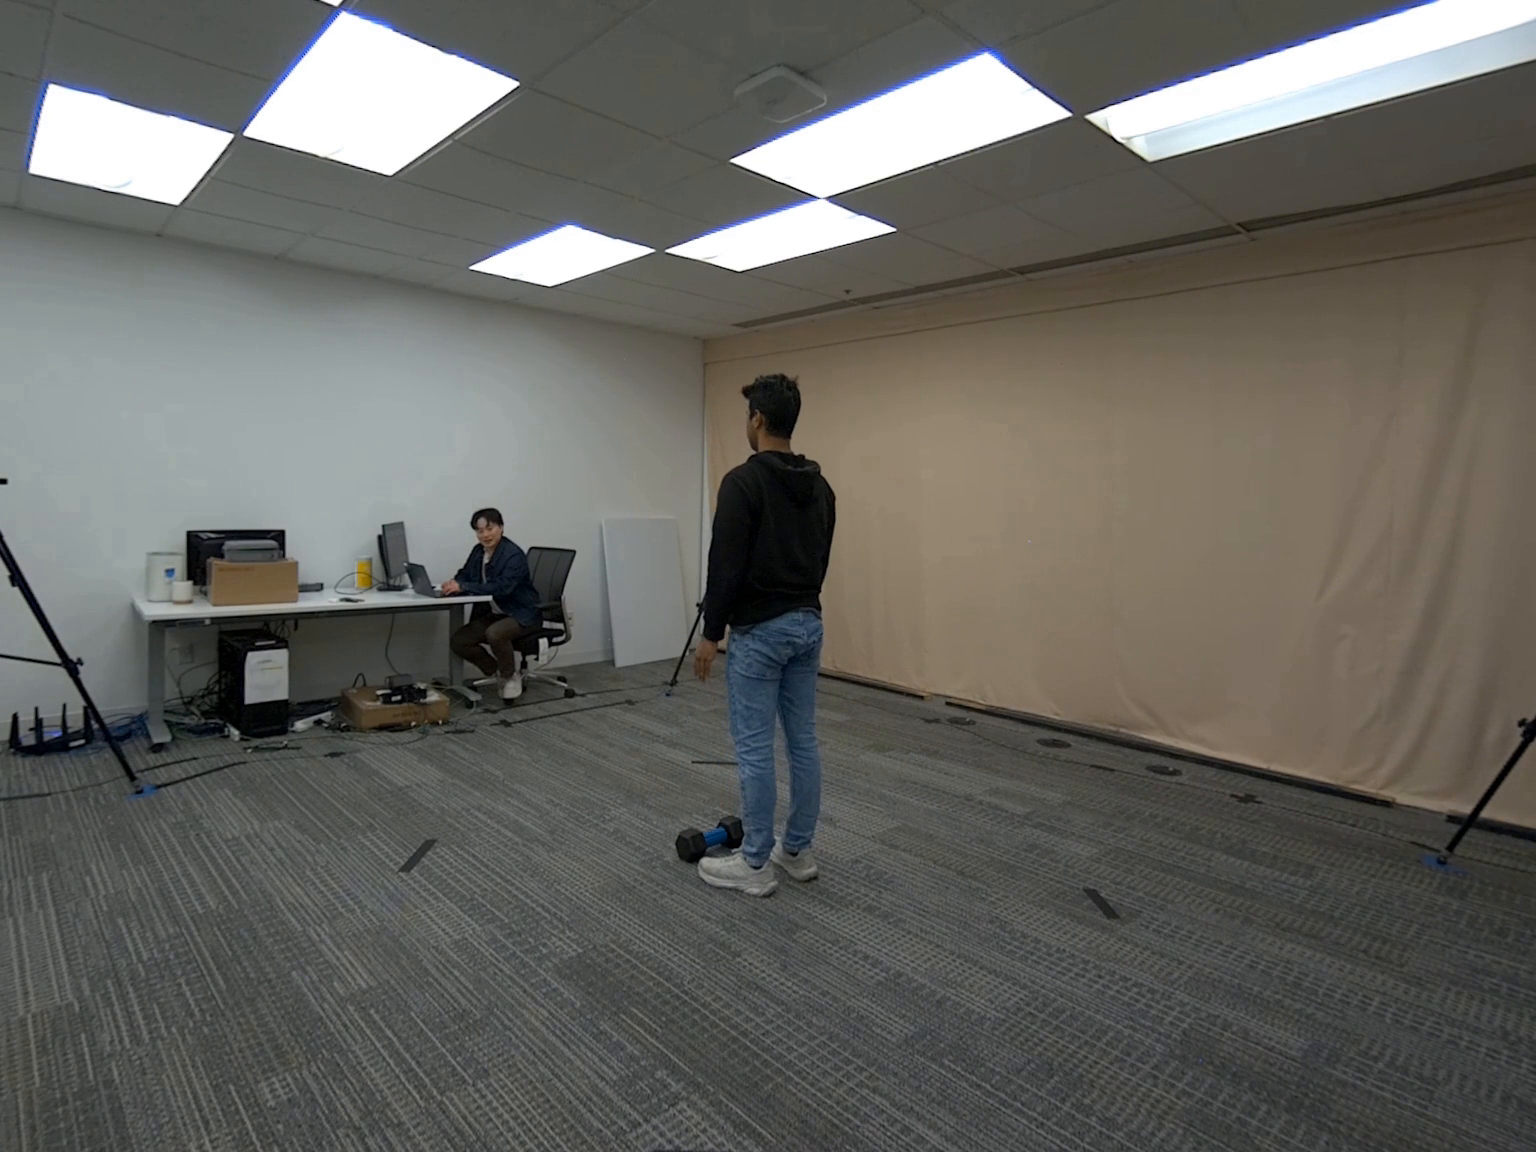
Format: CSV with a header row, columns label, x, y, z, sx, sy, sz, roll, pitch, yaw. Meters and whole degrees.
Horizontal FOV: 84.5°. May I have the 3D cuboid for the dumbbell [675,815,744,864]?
label,x,y,z,sx,sy,sz,roll,pitch,yaw
dumbbell,-0.231,1.032,3.309,0.287,0.122,0.112,-4,37,-45
